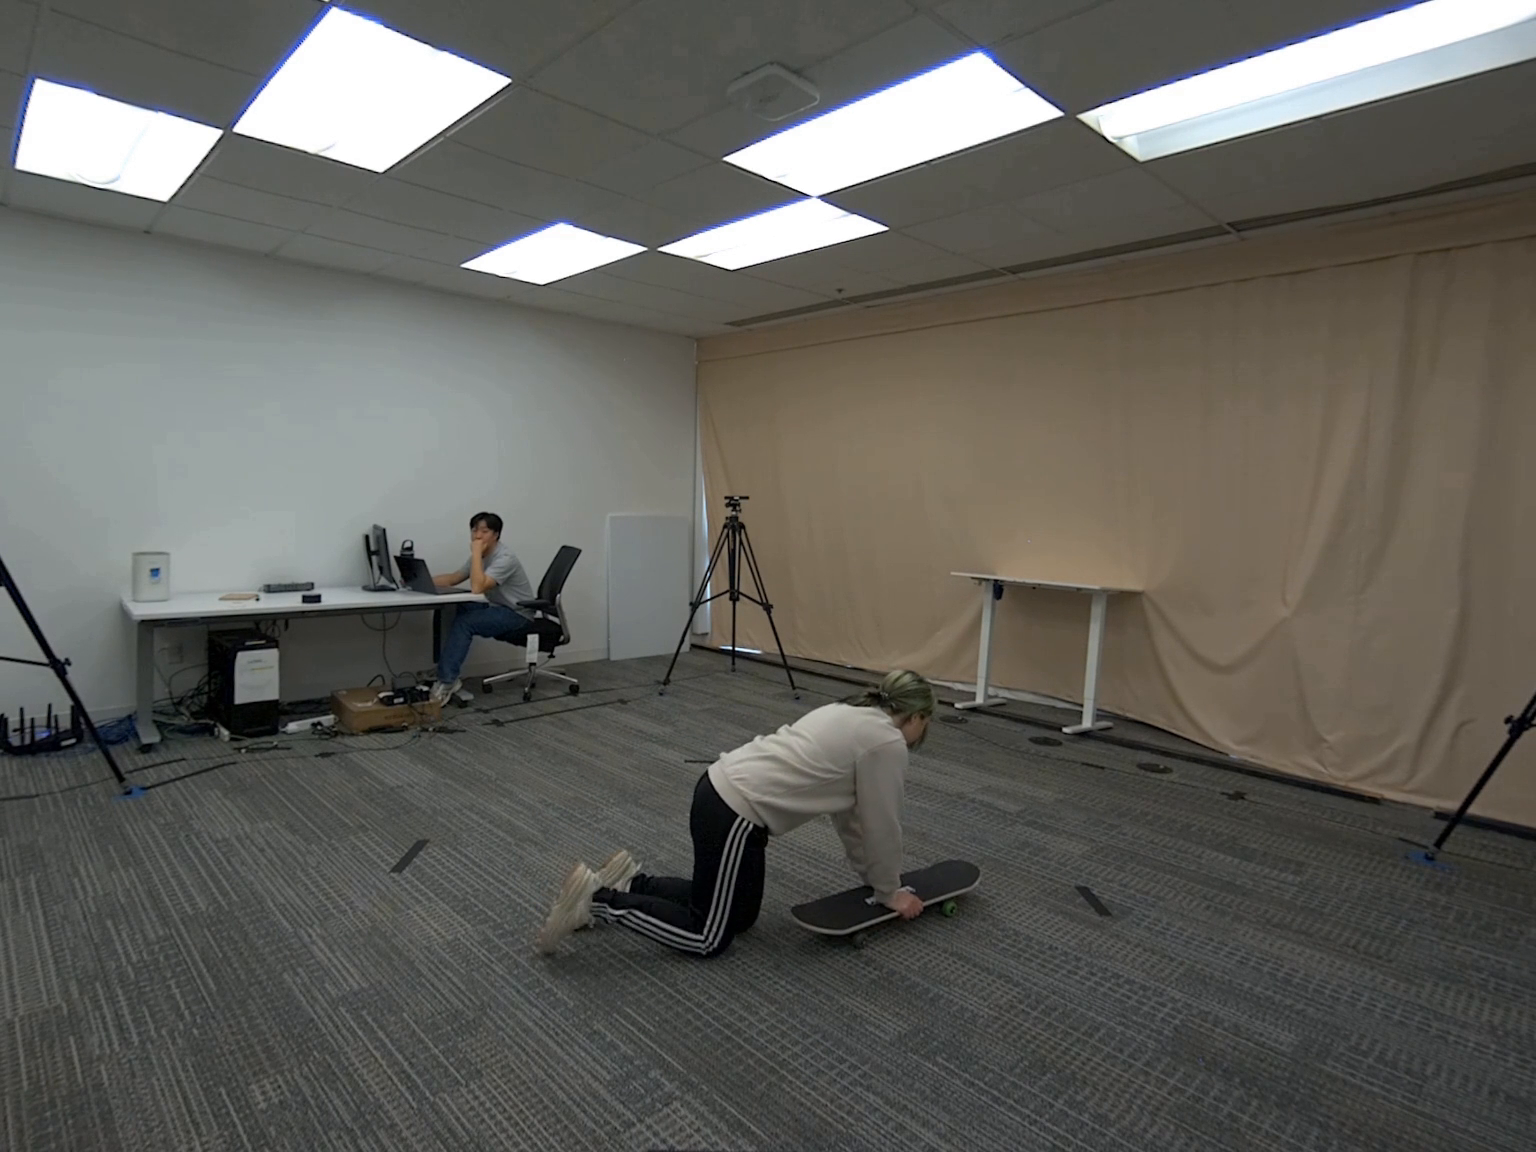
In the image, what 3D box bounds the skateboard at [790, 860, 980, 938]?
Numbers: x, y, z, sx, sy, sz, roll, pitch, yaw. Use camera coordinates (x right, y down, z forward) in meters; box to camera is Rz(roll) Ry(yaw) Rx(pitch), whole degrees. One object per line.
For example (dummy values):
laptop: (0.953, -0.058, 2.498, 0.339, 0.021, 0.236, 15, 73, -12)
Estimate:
skateboard: (0.396, 1.090, 2.784, 0.769, 0.110, 0.198, -3, 6, -34)
